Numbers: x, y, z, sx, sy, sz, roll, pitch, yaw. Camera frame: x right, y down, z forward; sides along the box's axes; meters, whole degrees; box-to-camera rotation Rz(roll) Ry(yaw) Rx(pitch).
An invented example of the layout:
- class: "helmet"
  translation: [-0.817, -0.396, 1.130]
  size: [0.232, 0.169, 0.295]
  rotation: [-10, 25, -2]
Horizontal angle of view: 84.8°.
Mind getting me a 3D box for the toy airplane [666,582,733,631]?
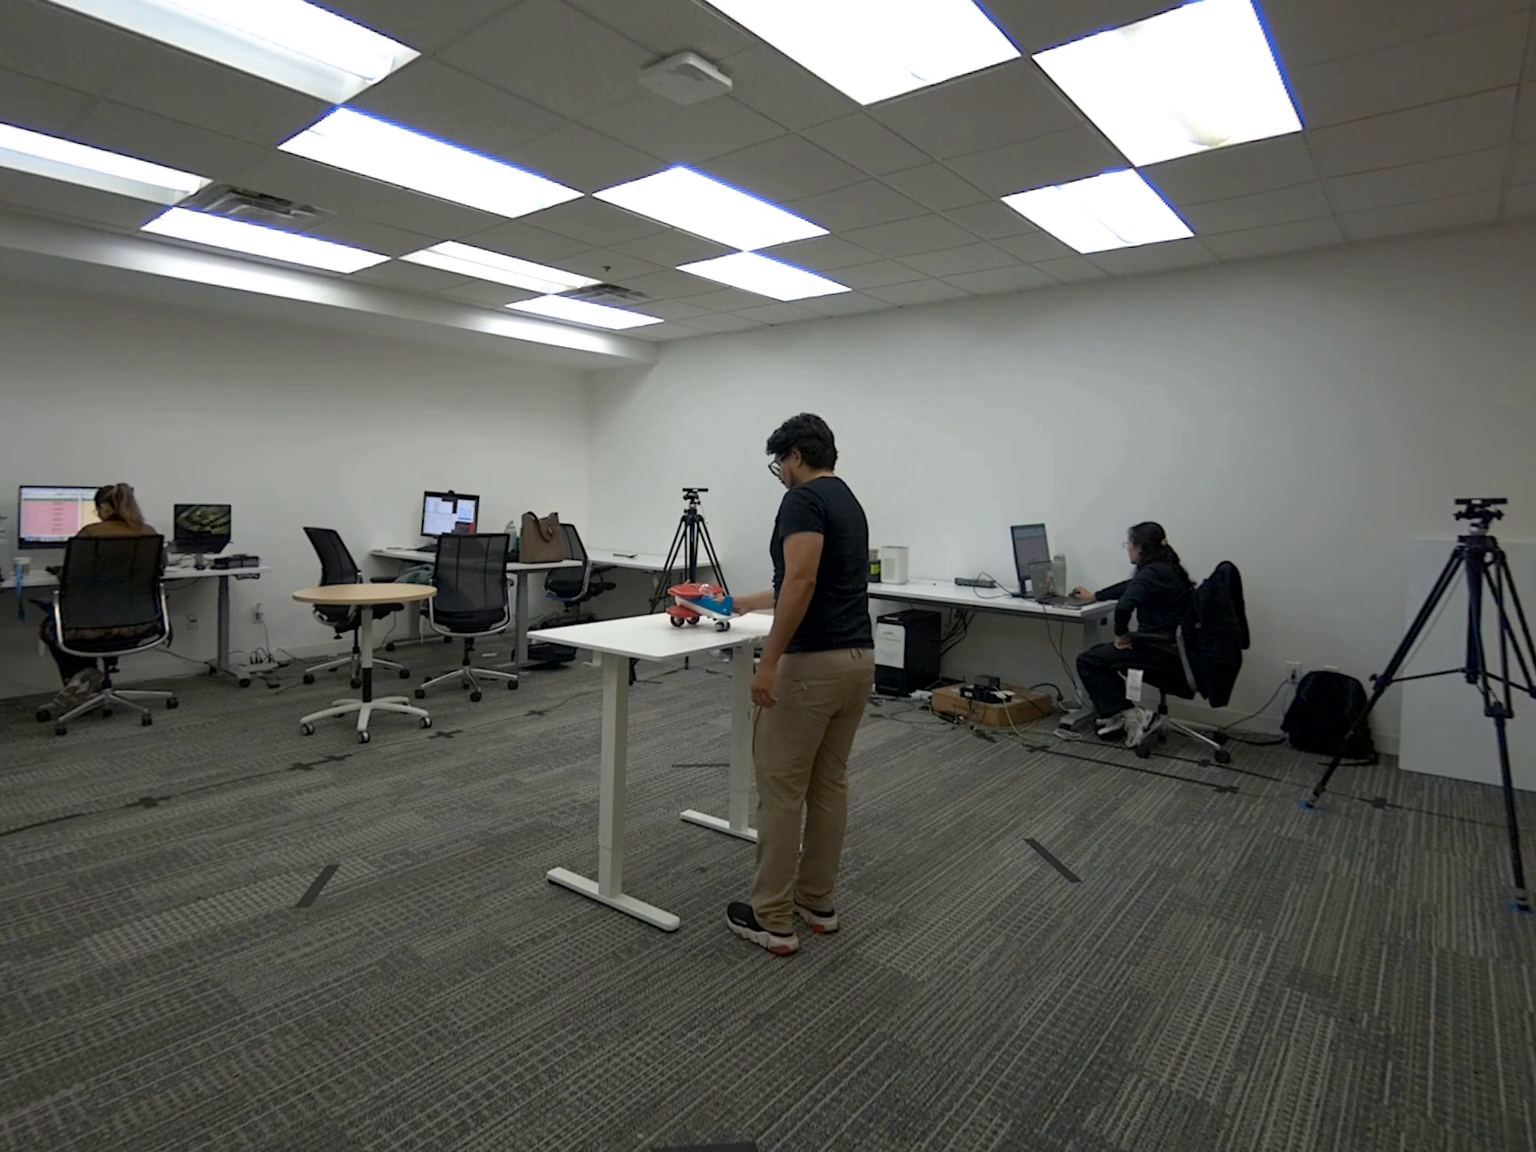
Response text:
- class: "toy airplane"
  translation: [-0.244, 0.109, 3.113]
  size: [0.262, 0.156, 0.249]
  rotation: [1, 5, 9]
